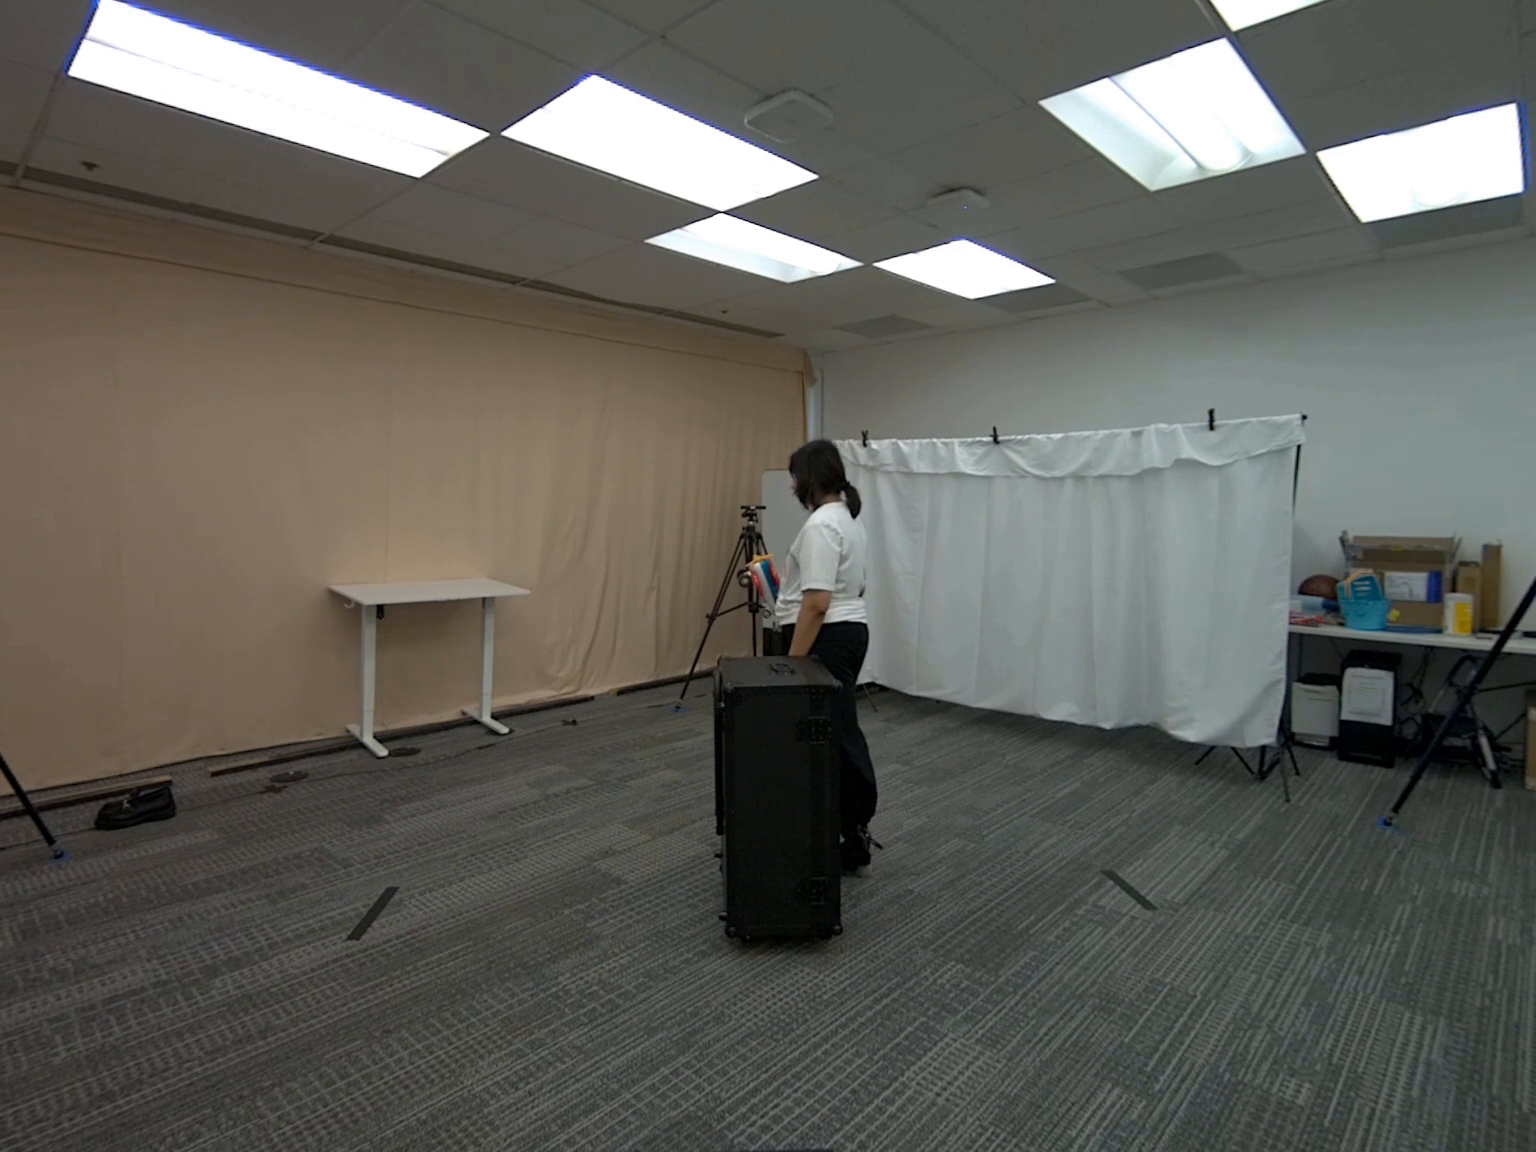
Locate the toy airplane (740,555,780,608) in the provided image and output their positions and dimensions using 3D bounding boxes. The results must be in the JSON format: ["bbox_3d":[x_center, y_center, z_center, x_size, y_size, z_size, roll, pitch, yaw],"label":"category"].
[{"bbox_3d":[-0.011,0.041,3.443,0.156,0.251,0.259,-35,37,1],"label":"toy airplane"}]
